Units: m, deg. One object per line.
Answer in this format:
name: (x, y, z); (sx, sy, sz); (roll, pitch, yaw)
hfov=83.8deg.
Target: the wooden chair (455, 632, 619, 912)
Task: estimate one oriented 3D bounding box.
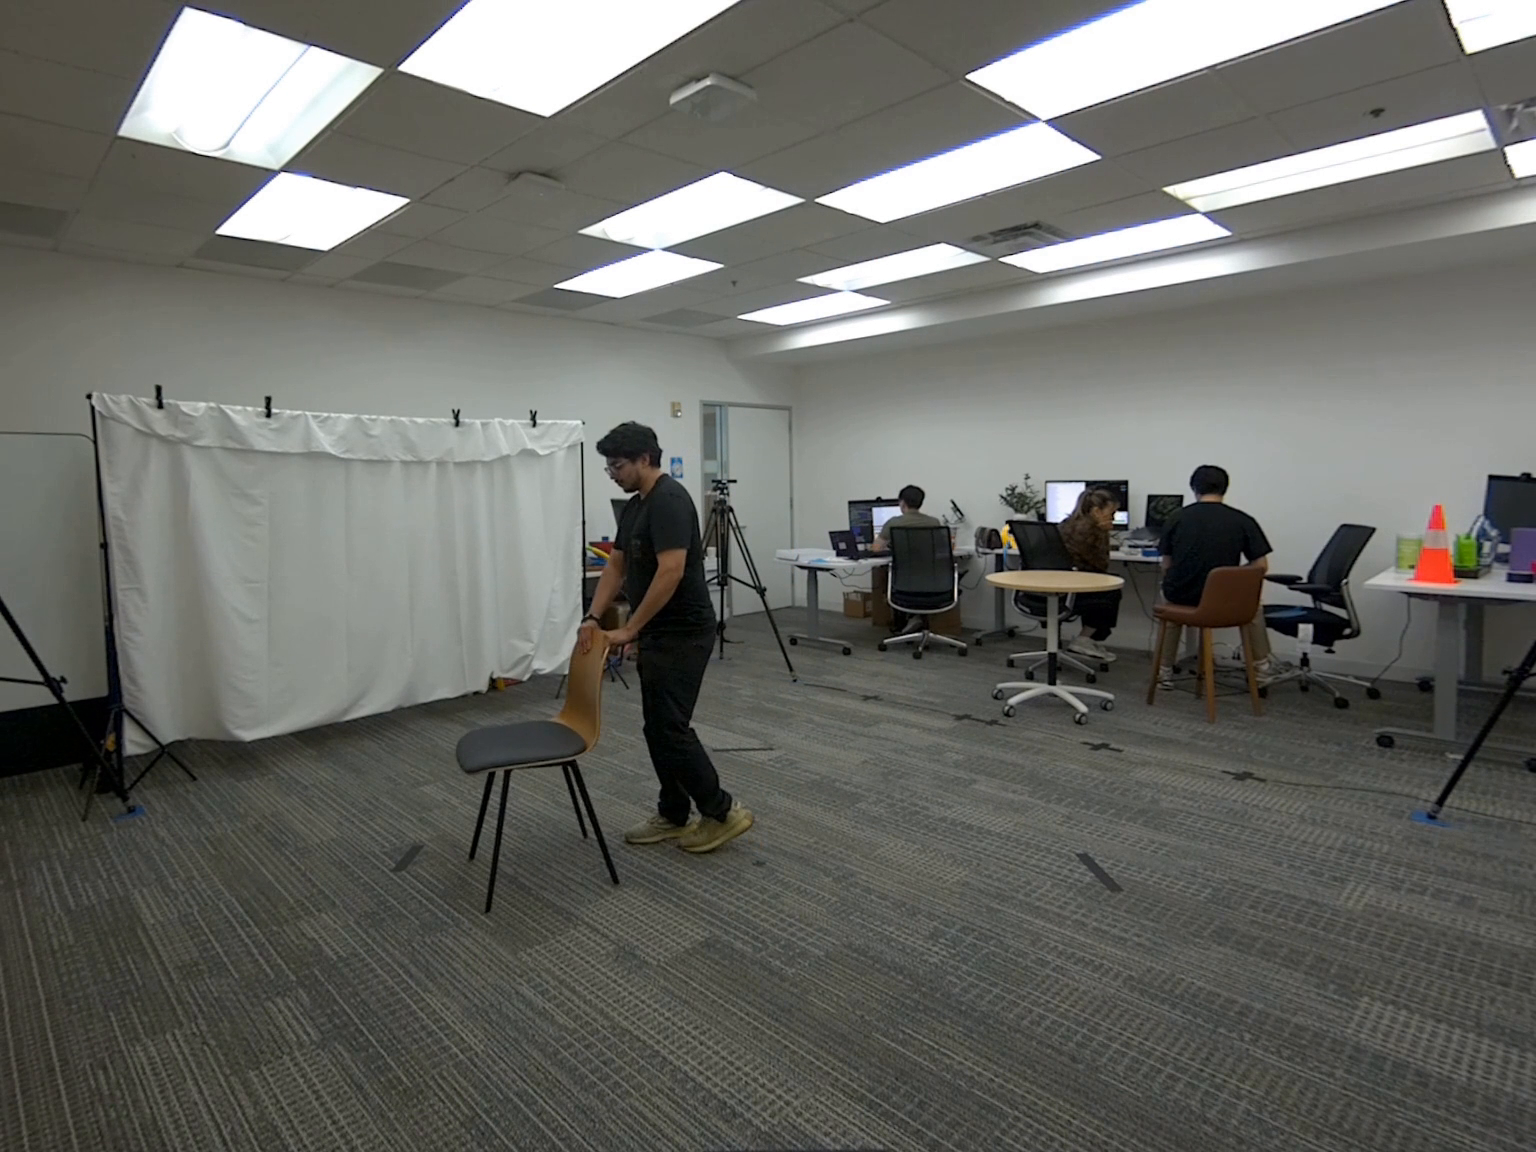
wooden chair: (-0.830, 0.641, 3.043); (0.511, 0.875, 0.490); (2, 3, -25)
